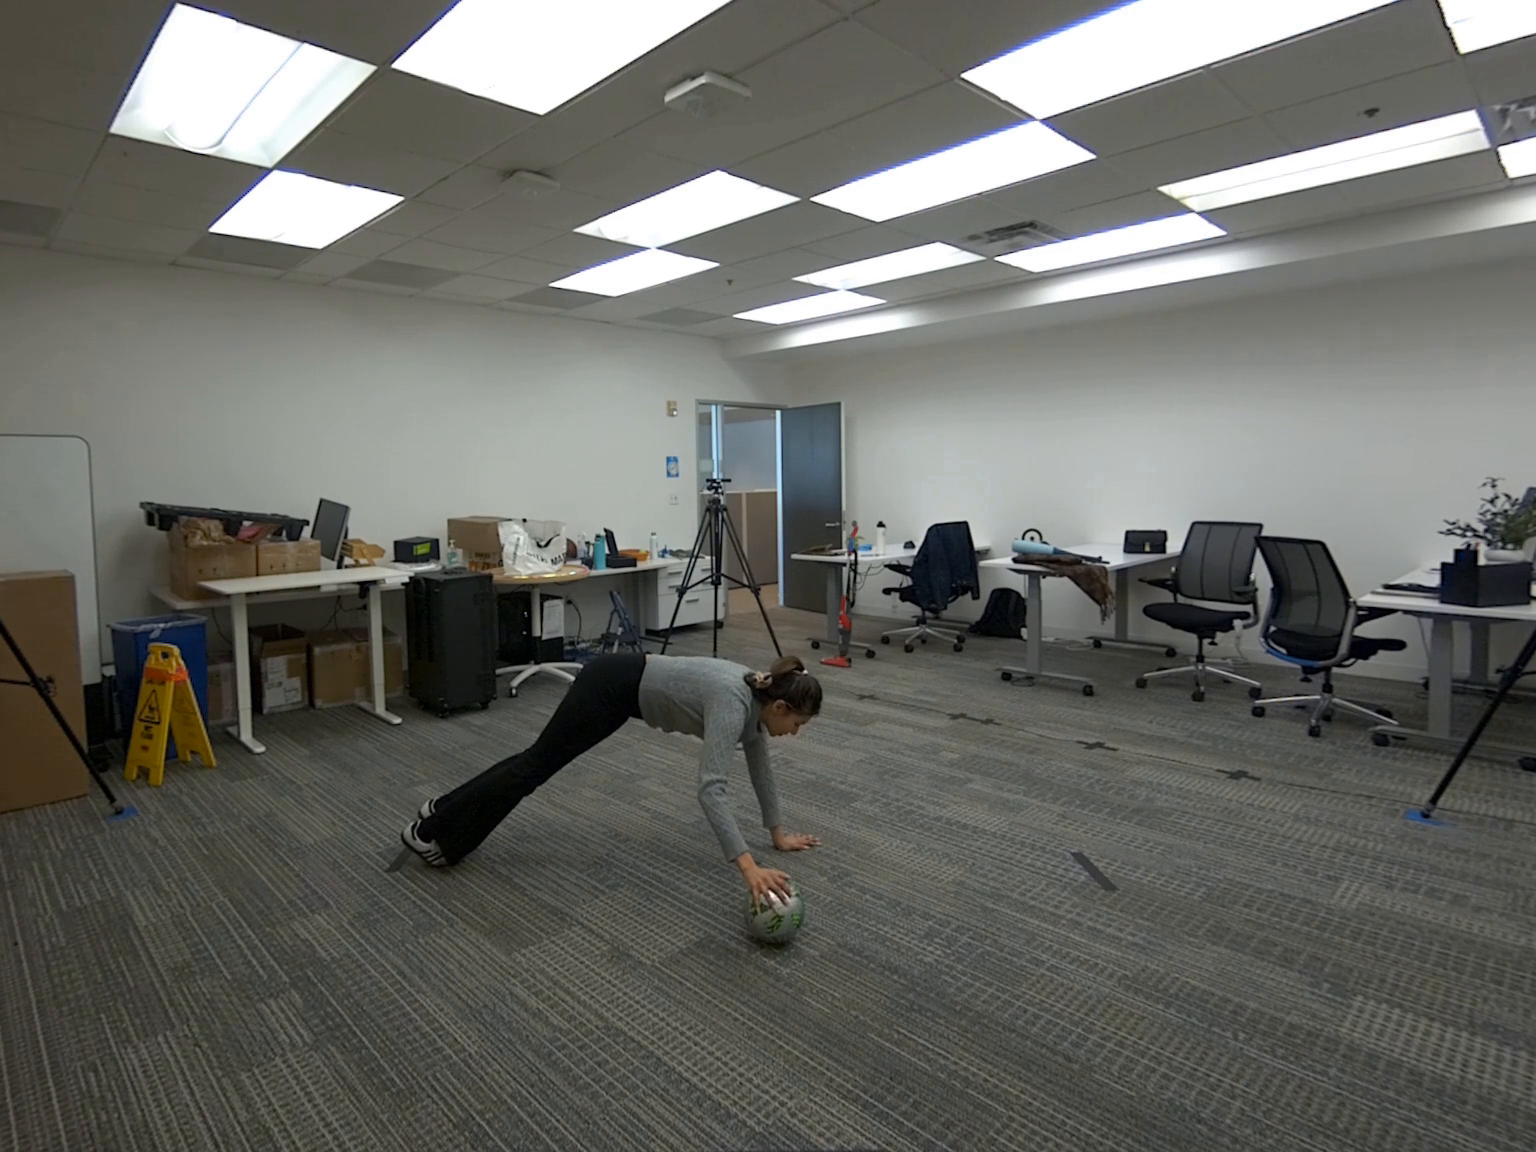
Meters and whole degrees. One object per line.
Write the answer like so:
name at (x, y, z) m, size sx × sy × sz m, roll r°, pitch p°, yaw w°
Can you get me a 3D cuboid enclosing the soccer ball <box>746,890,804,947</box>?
soccer ball at (0.018, 1.018, 2.587) m, size 0.187 × 0.187 × 0.188 m, roll -1°, pitch 5°, yaw -2°
